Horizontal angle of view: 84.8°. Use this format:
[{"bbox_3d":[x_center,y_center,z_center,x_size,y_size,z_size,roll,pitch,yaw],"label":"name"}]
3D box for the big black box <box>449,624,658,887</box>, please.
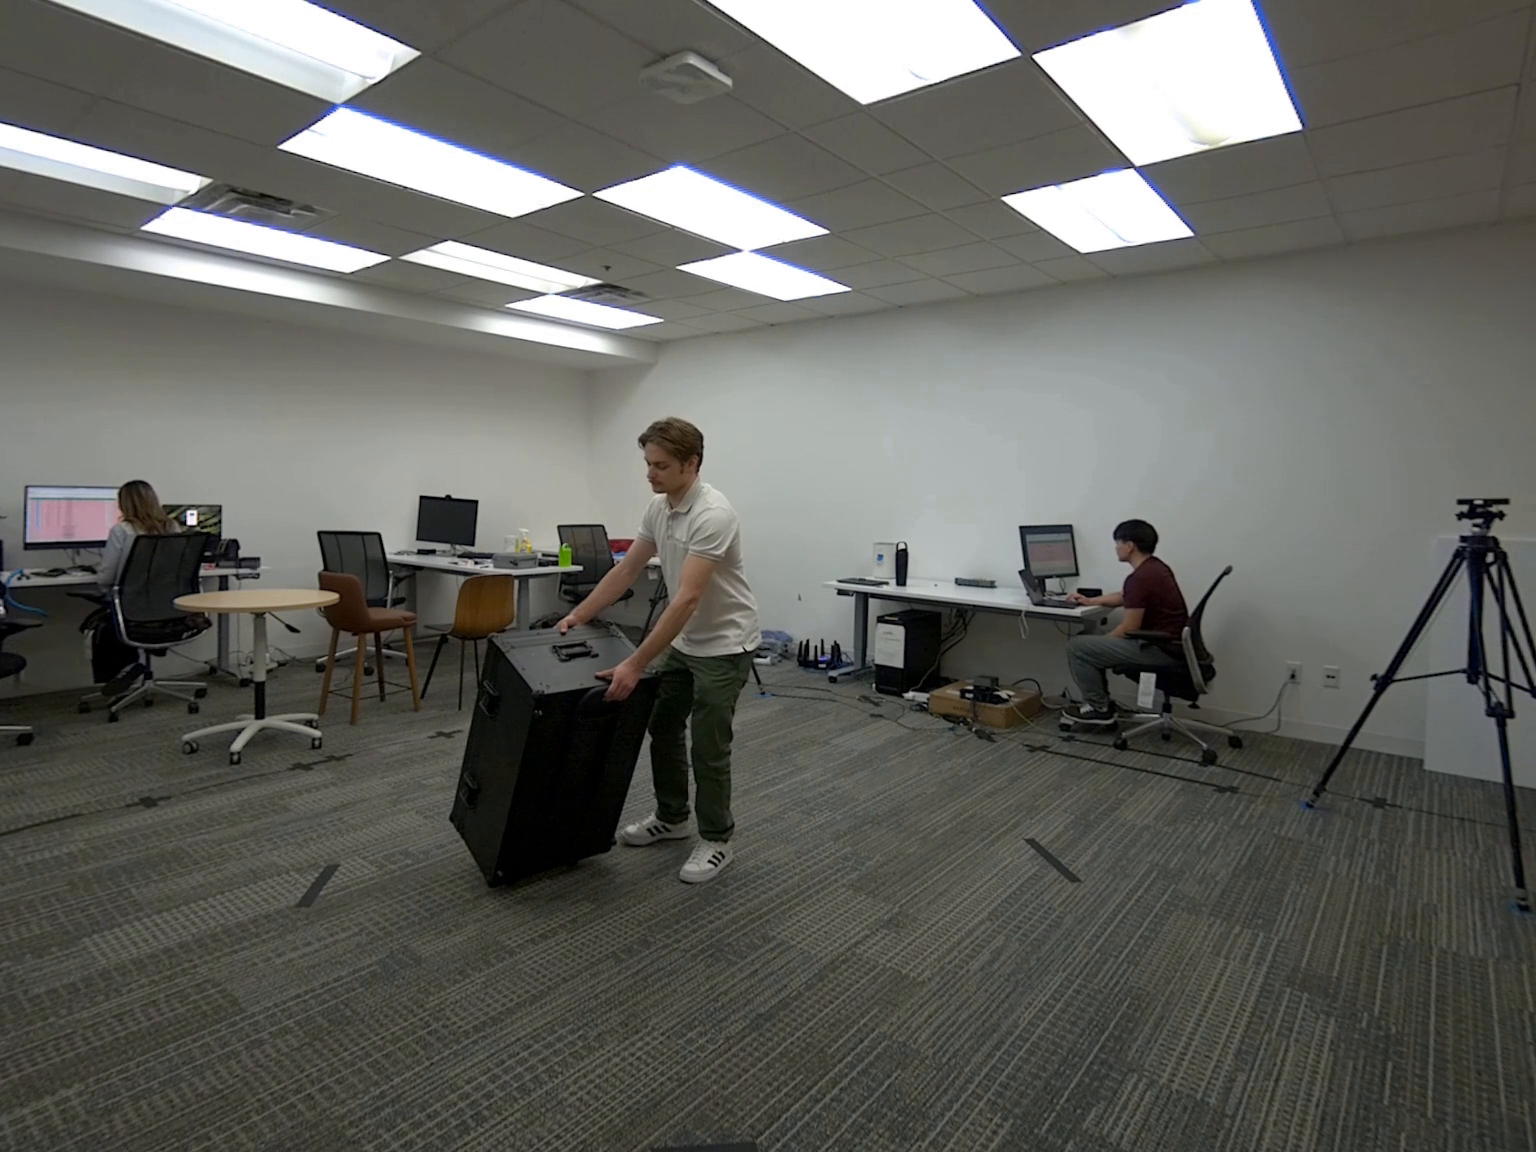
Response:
[{"bbox_3d":[-0.766,0.640,2.991,0.508,0.858,0.402,-3,29,-43],"label":"big black box"}]
